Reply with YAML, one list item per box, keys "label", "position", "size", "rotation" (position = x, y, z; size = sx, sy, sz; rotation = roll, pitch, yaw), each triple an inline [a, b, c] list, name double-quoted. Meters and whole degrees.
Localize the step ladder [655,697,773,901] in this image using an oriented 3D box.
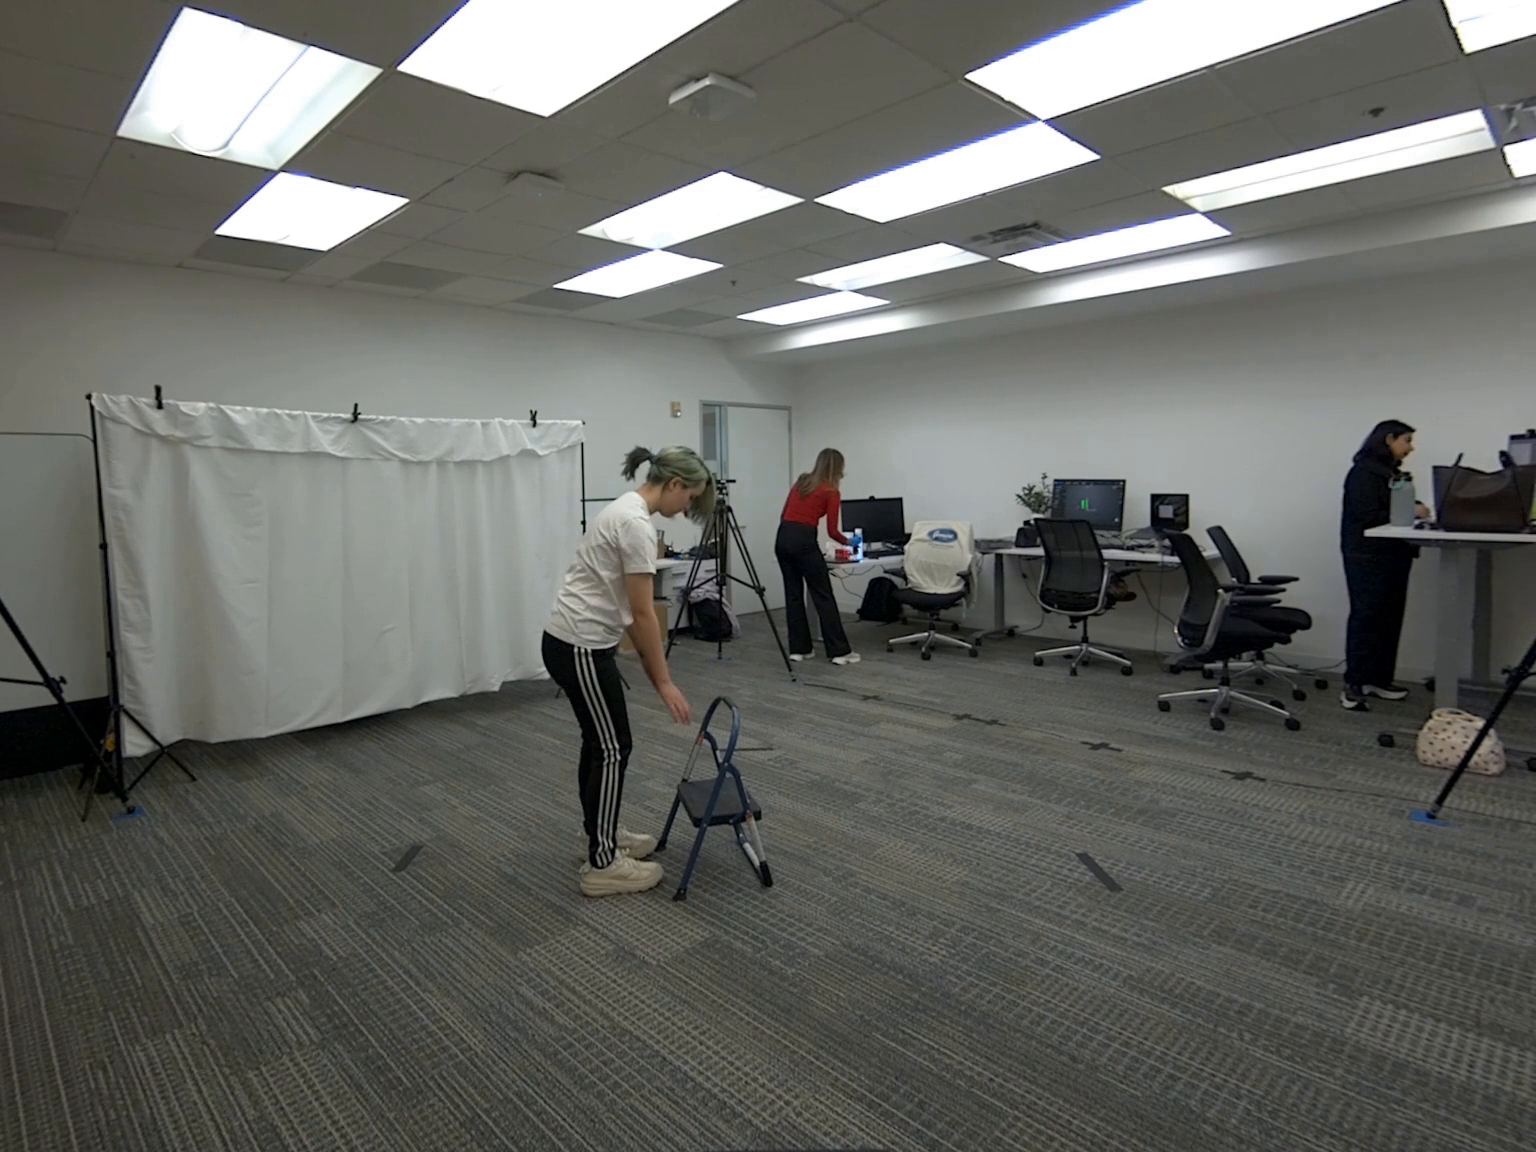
- label: "step ladder"
  position: [-0.206, 0.755, 3.073]
  size: [0.344, 0.603, 0.438]
  rotation: [-1, 5, -15]
